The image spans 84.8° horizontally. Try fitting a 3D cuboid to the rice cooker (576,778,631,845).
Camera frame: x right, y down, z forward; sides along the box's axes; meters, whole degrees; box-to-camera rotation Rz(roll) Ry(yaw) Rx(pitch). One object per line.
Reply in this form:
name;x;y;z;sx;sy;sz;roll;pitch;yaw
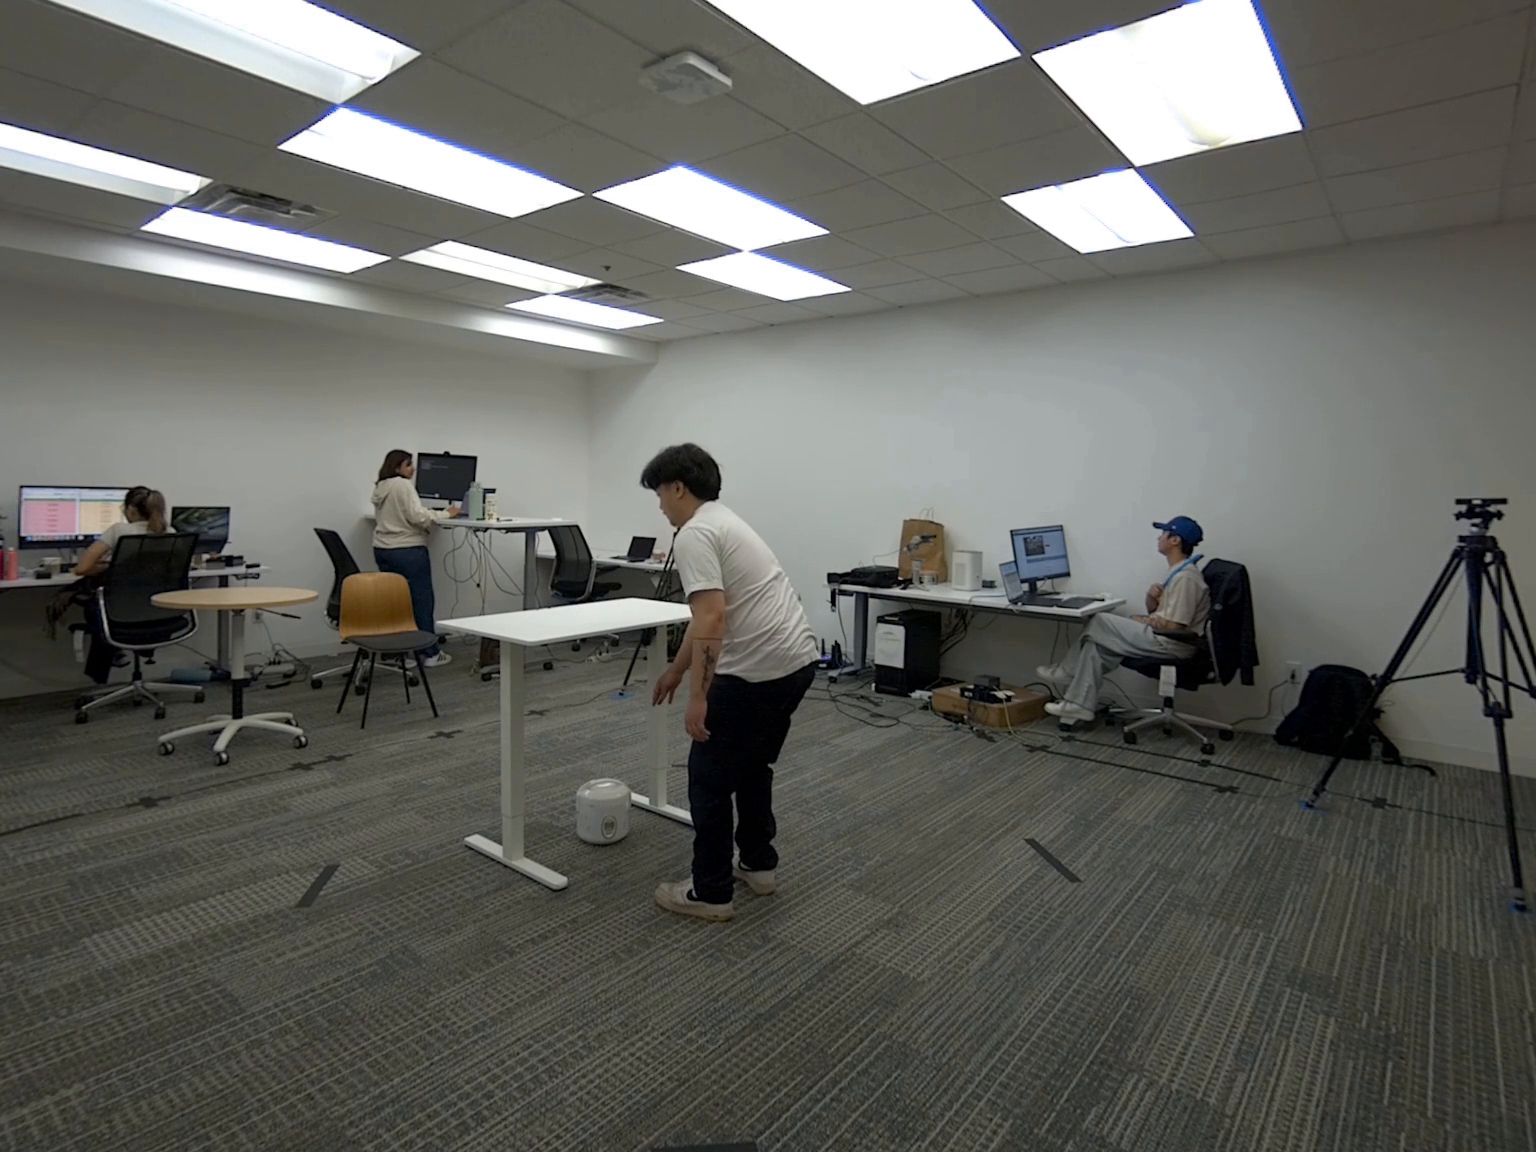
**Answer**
rice cooker;-0.665;0.920;3.376;0.216;0.232;0.223;-1;4;-22
